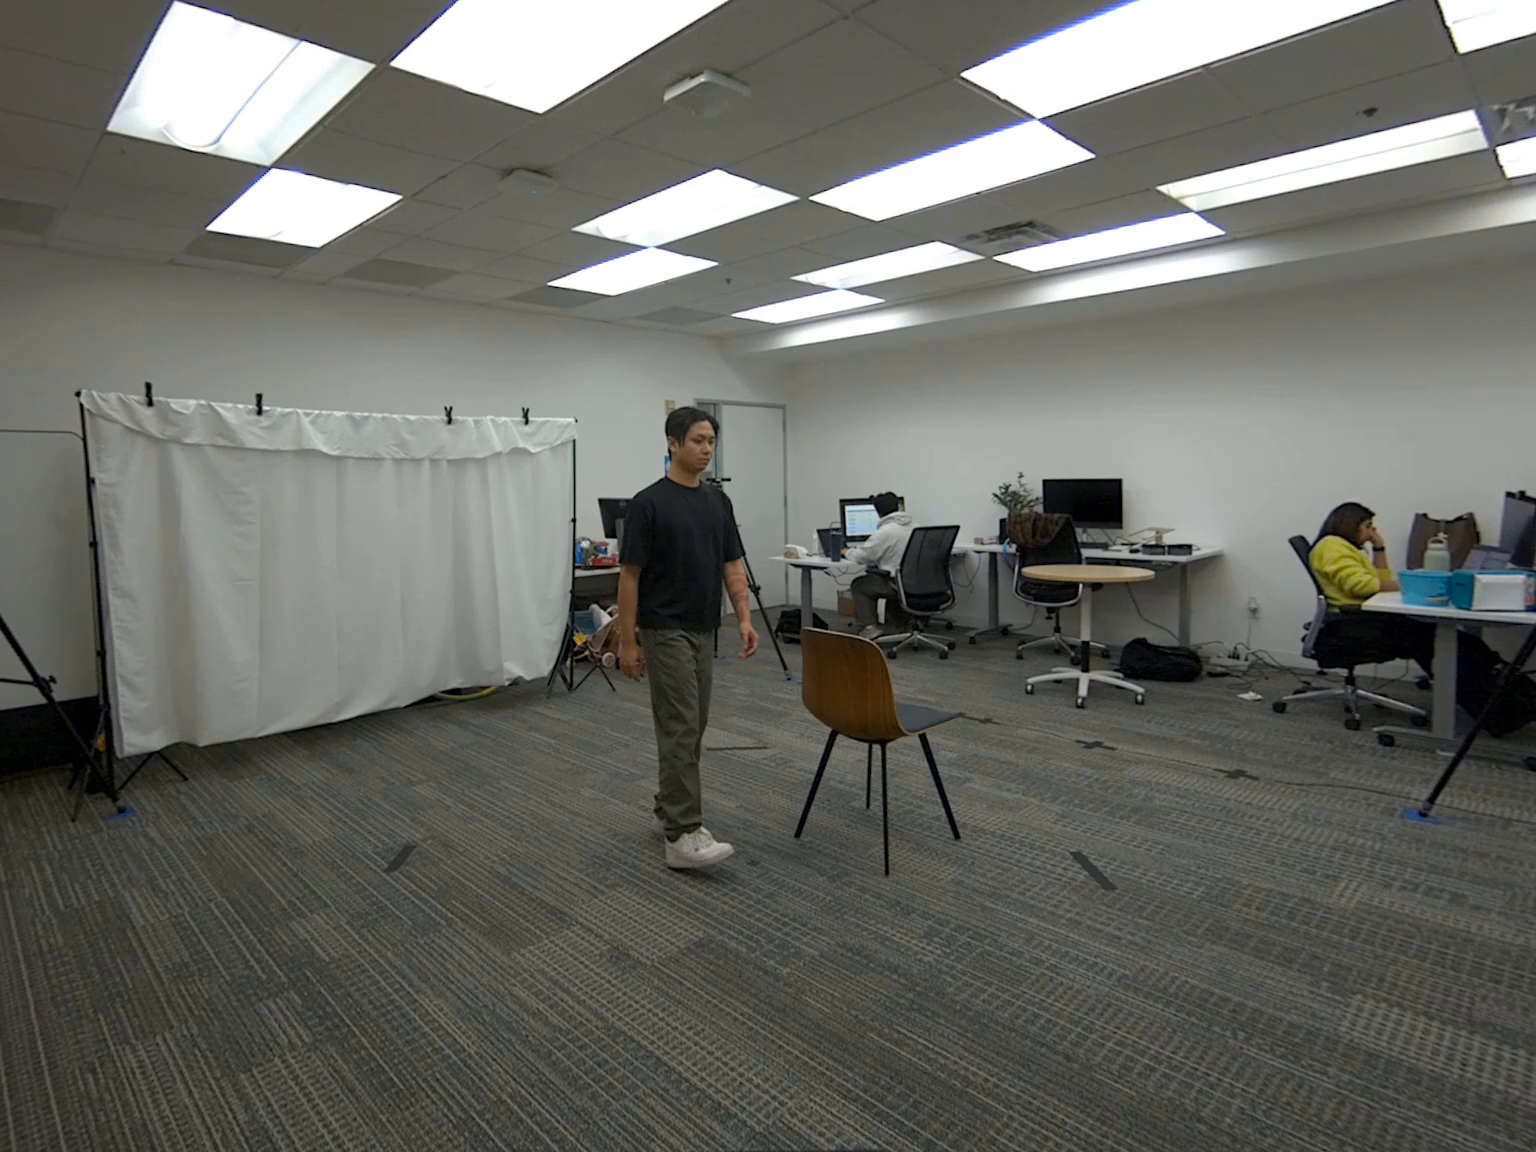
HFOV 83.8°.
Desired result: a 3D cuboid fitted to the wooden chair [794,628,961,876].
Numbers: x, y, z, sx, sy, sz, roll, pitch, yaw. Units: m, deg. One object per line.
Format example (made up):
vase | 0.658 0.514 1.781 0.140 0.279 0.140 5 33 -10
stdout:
wooden chair | 0.419 0.586 3.265 0.511 0.871 0.493 -11 10 -43
